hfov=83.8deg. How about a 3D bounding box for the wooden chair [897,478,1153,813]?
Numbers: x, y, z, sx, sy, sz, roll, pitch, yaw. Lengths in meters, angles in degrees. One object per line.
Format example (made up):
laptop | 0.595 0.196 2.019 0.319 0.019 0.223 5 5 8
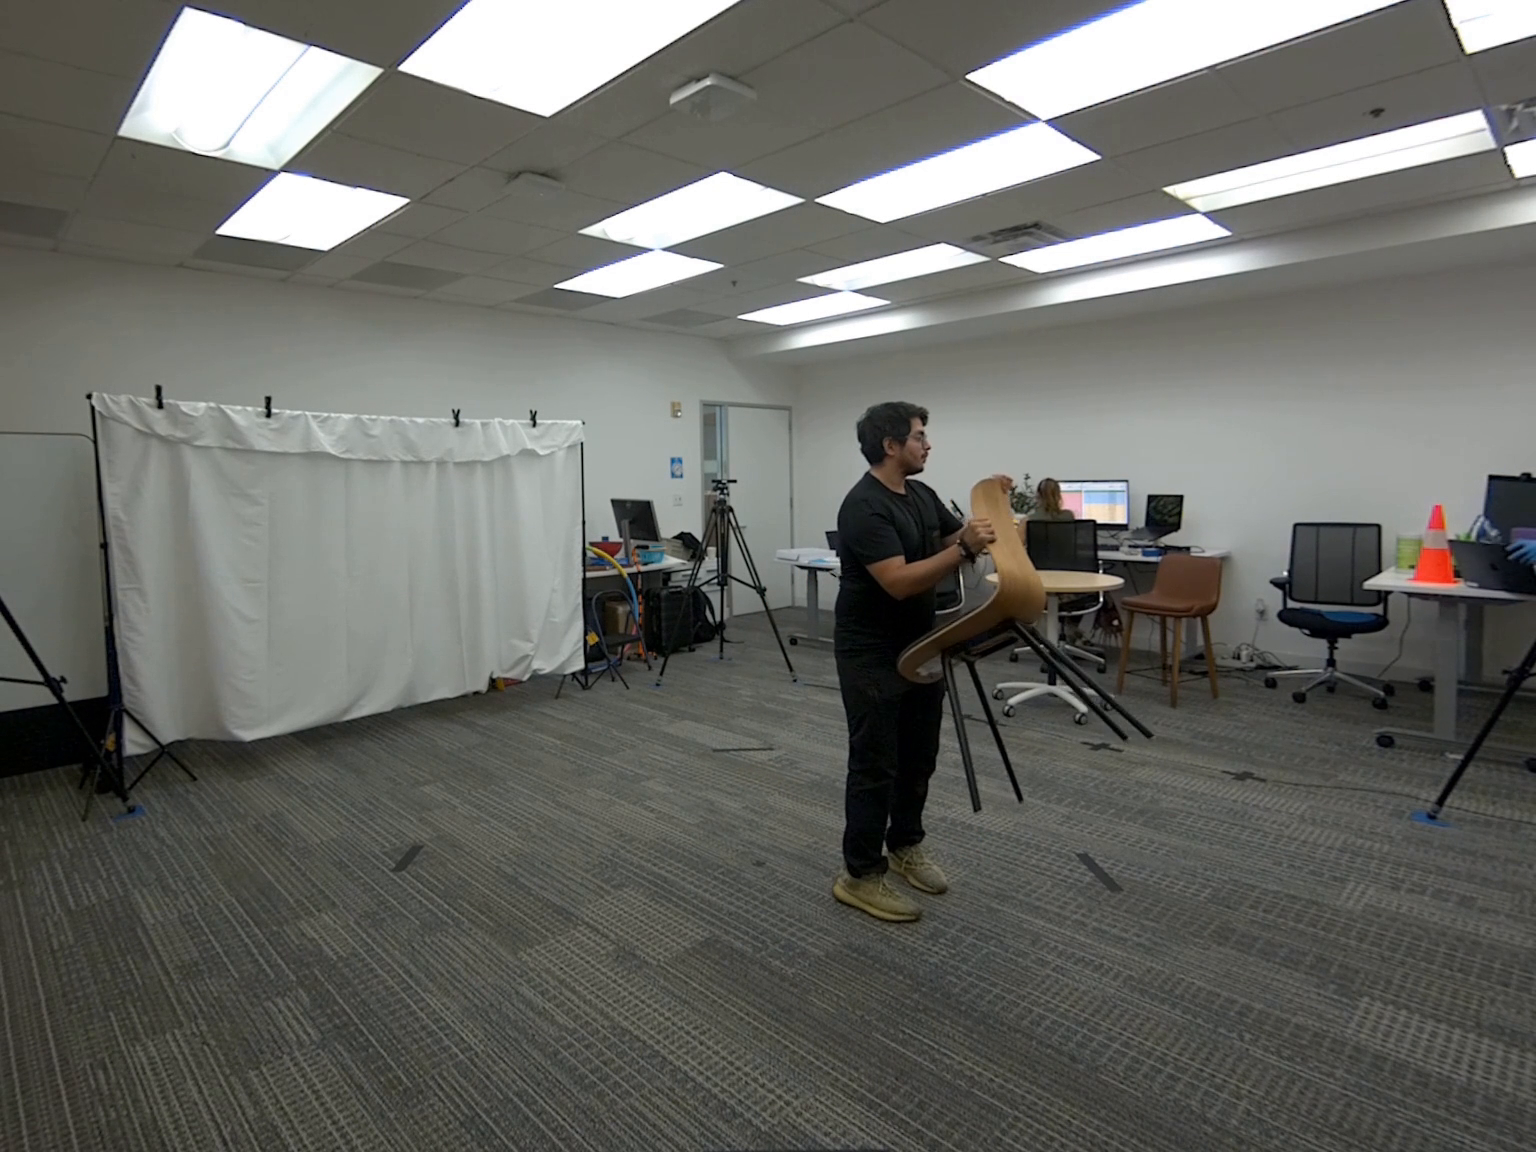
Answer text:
wooden chair | 0.677 0.207 2.606 0.527 0.901 0.462 -33 -25 24
